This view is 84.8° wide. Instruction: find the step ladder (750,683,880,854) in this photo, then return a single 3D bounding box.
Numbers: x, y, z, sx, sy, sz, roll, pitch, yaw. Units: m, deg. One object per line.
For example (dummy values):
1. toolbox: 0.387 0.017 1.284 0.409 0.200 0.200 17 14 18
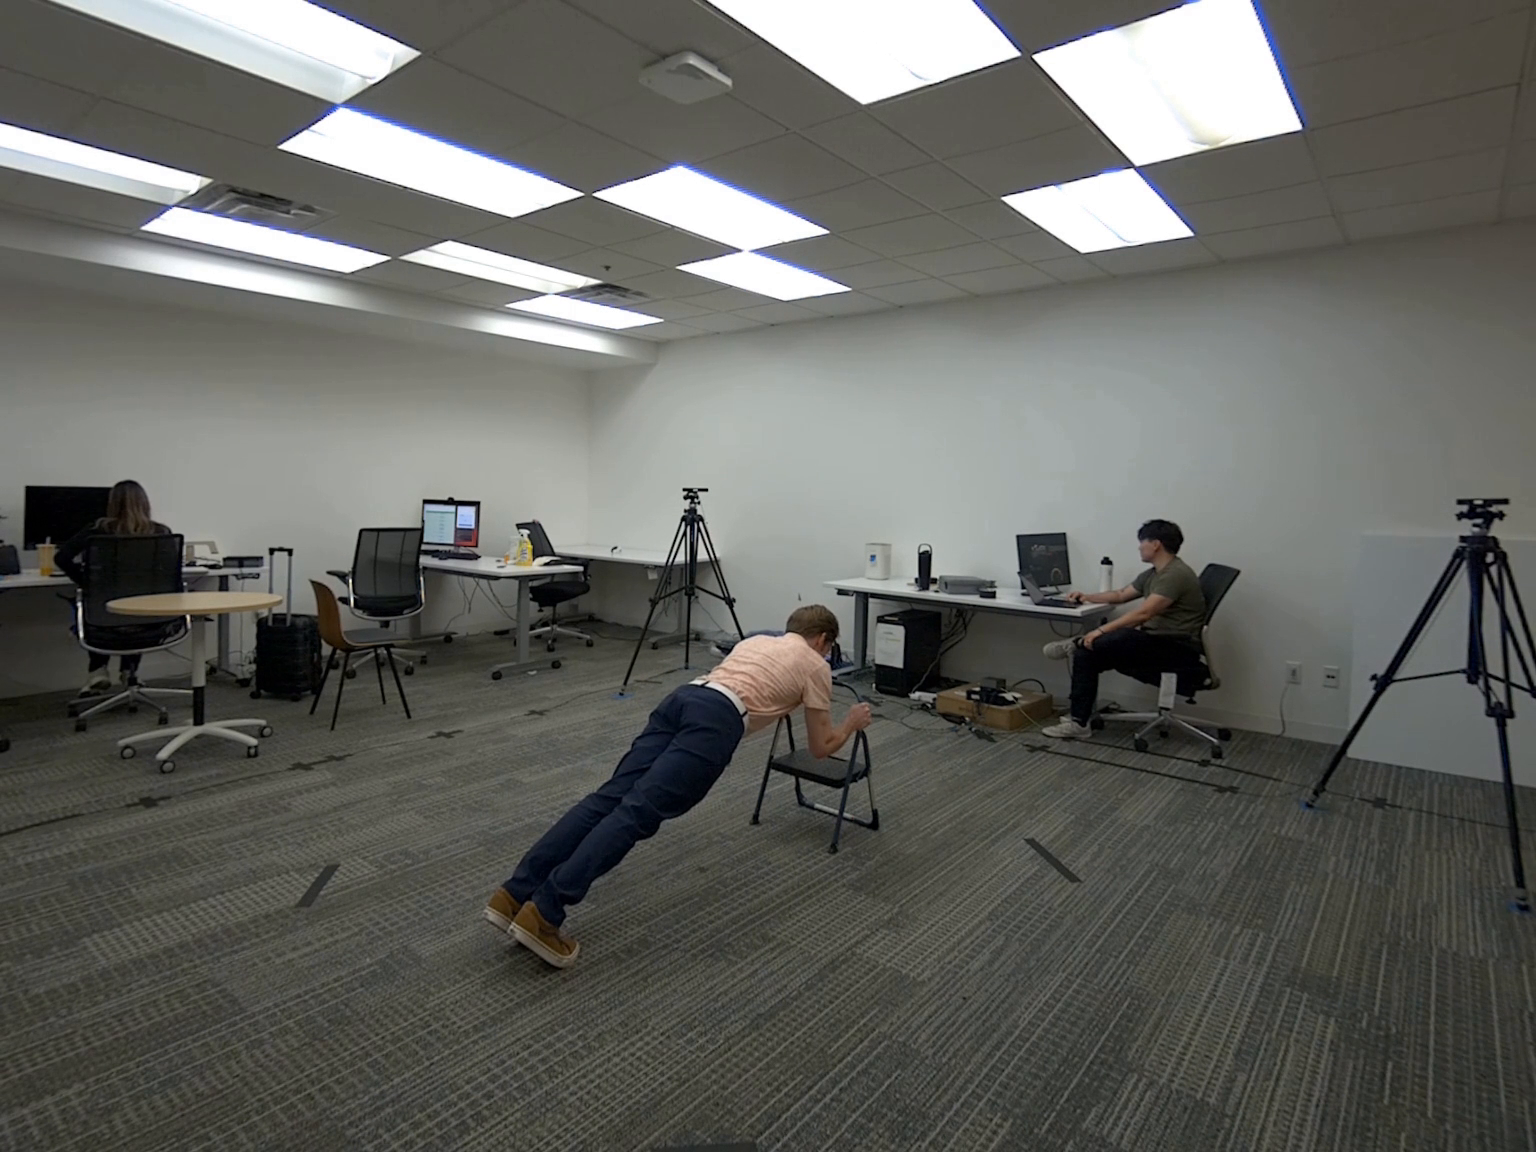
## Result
1. step ladder: 0.196 0.737 3.524 0.445 0.604 0.338 4 4 40
